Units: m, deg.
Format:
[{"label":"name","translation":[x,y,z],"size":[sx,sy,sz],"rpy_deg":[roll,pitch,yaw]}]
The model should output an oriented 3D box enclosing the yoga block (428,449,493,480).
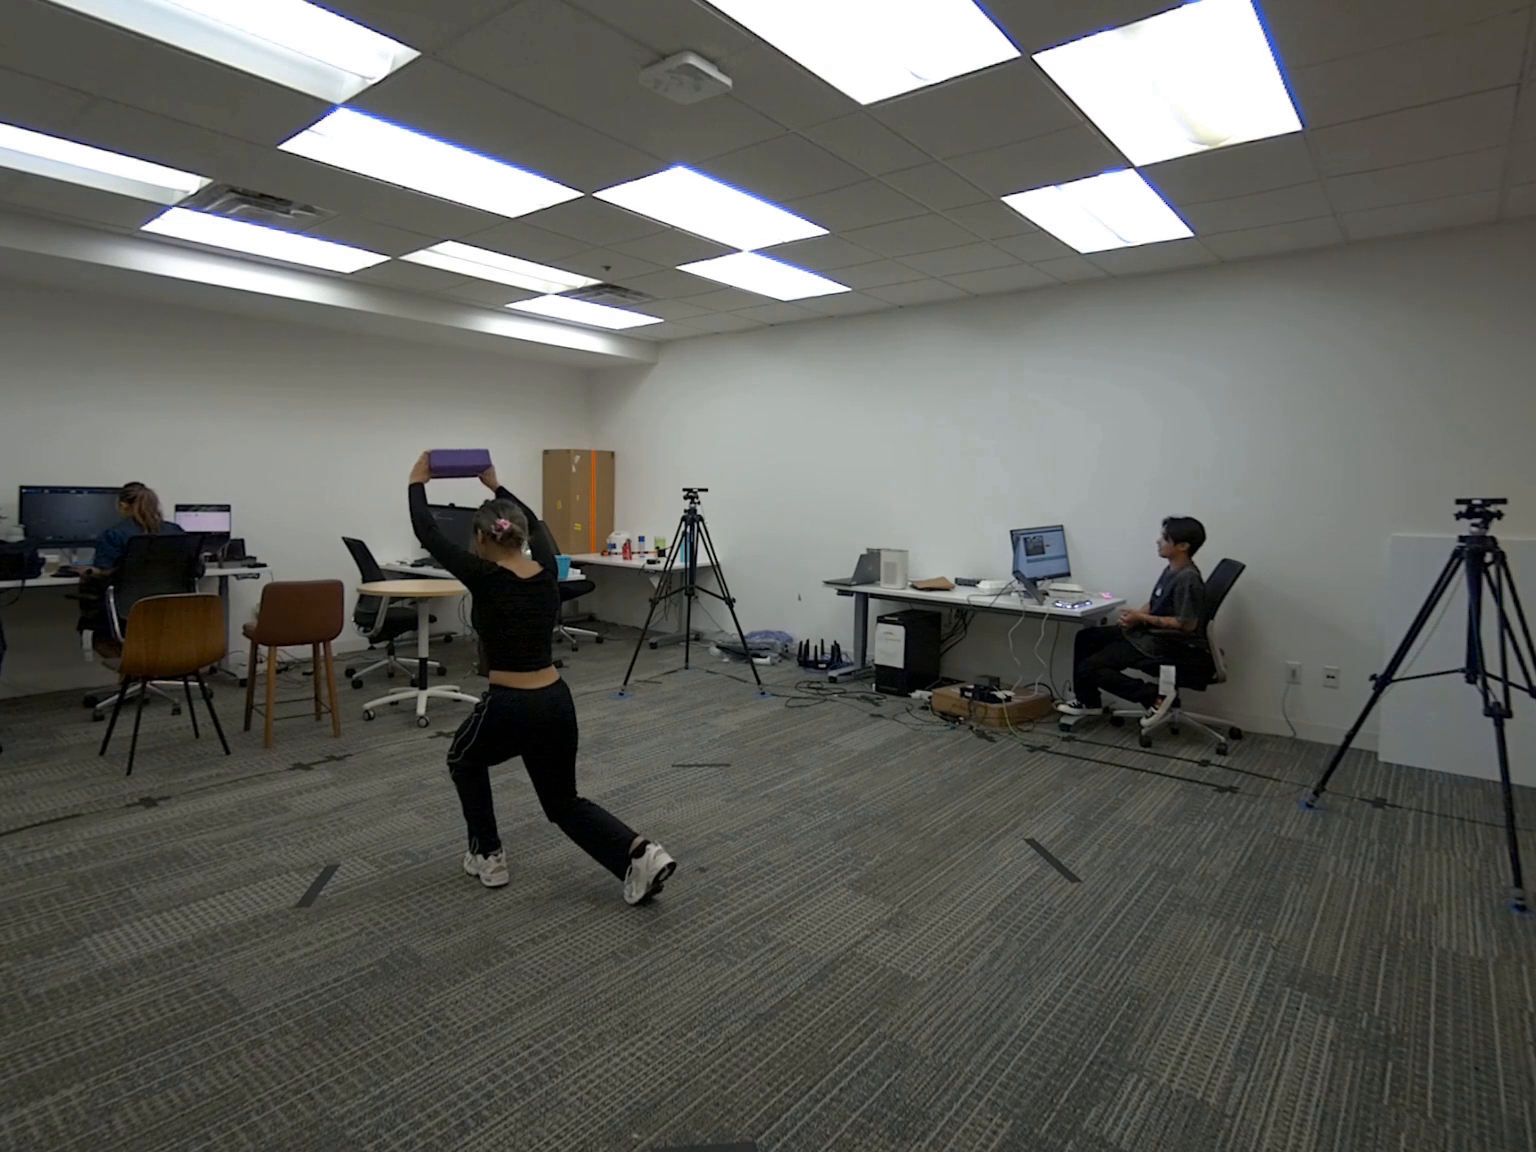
[{"label":"yoga block","translation":[-1.205,-0.436,3.238],"size":[0.223,0.077,0.152],"rpy_deg":[-9,-7,-40]}]
